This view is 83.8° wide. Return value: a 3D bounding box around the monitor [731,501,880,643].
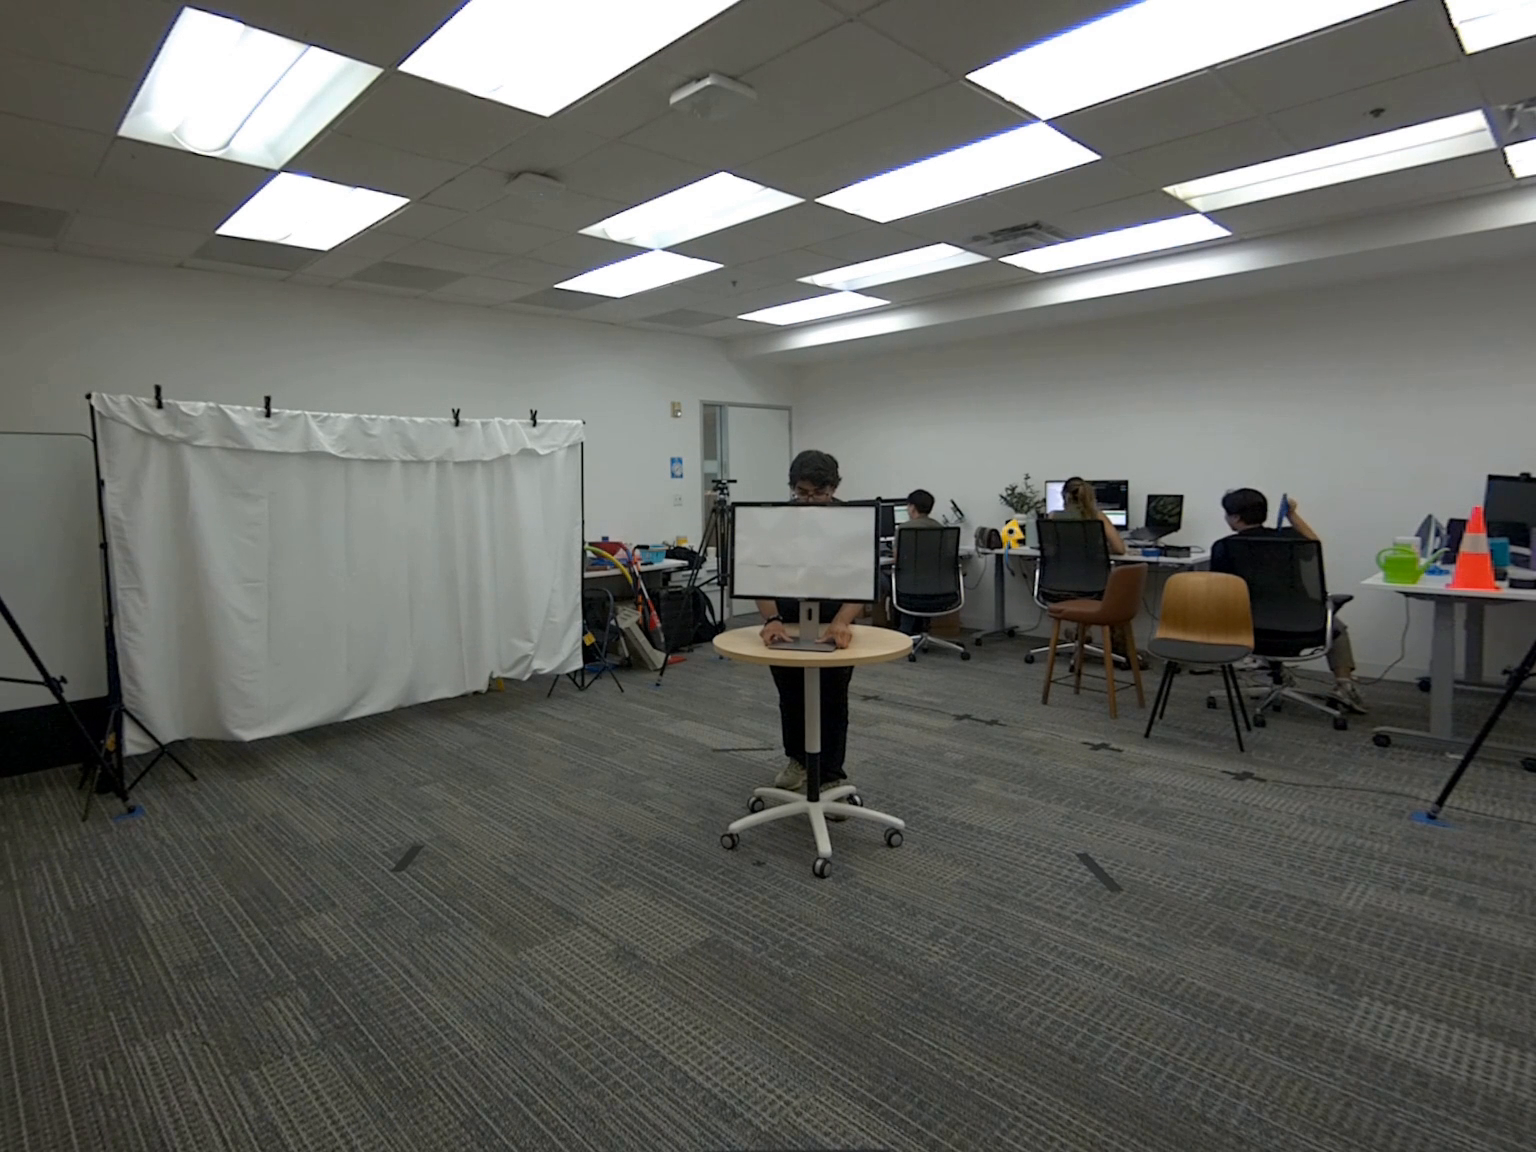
[{"bbox_3d":[0.148,-0.004,3.180,0.576,0.553,0.206,1,2,20],"label":"monitor"}]
